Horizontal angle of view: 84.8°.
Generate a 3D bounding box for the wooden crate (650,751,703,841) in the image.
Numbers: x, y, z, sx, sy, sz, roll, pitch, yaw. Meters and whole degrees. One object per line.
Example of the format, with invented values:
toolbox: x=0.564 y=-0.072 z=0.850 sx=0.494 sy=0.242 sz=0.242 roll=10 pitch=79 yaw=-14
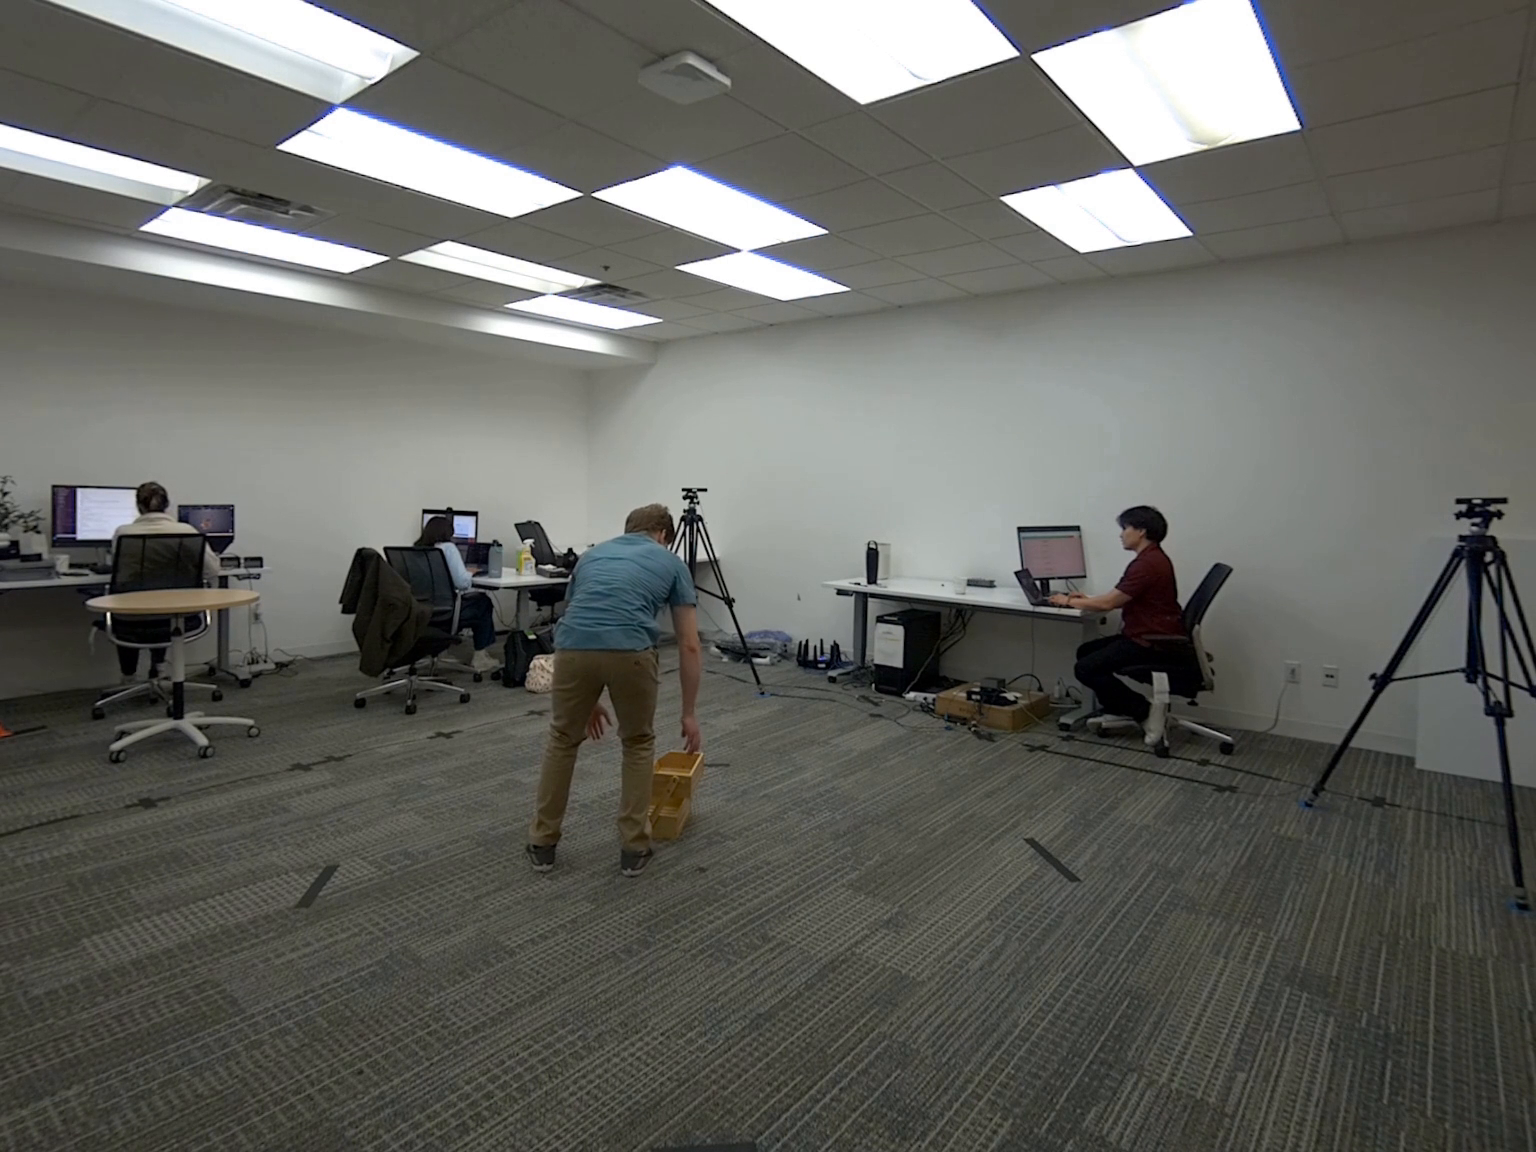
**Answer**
wooden crate: x=-0.461 y=0.893 z=3.529 sx=0.304 sy=0.272 sz=0.323 roll=2 pitch=5 yaw=6
